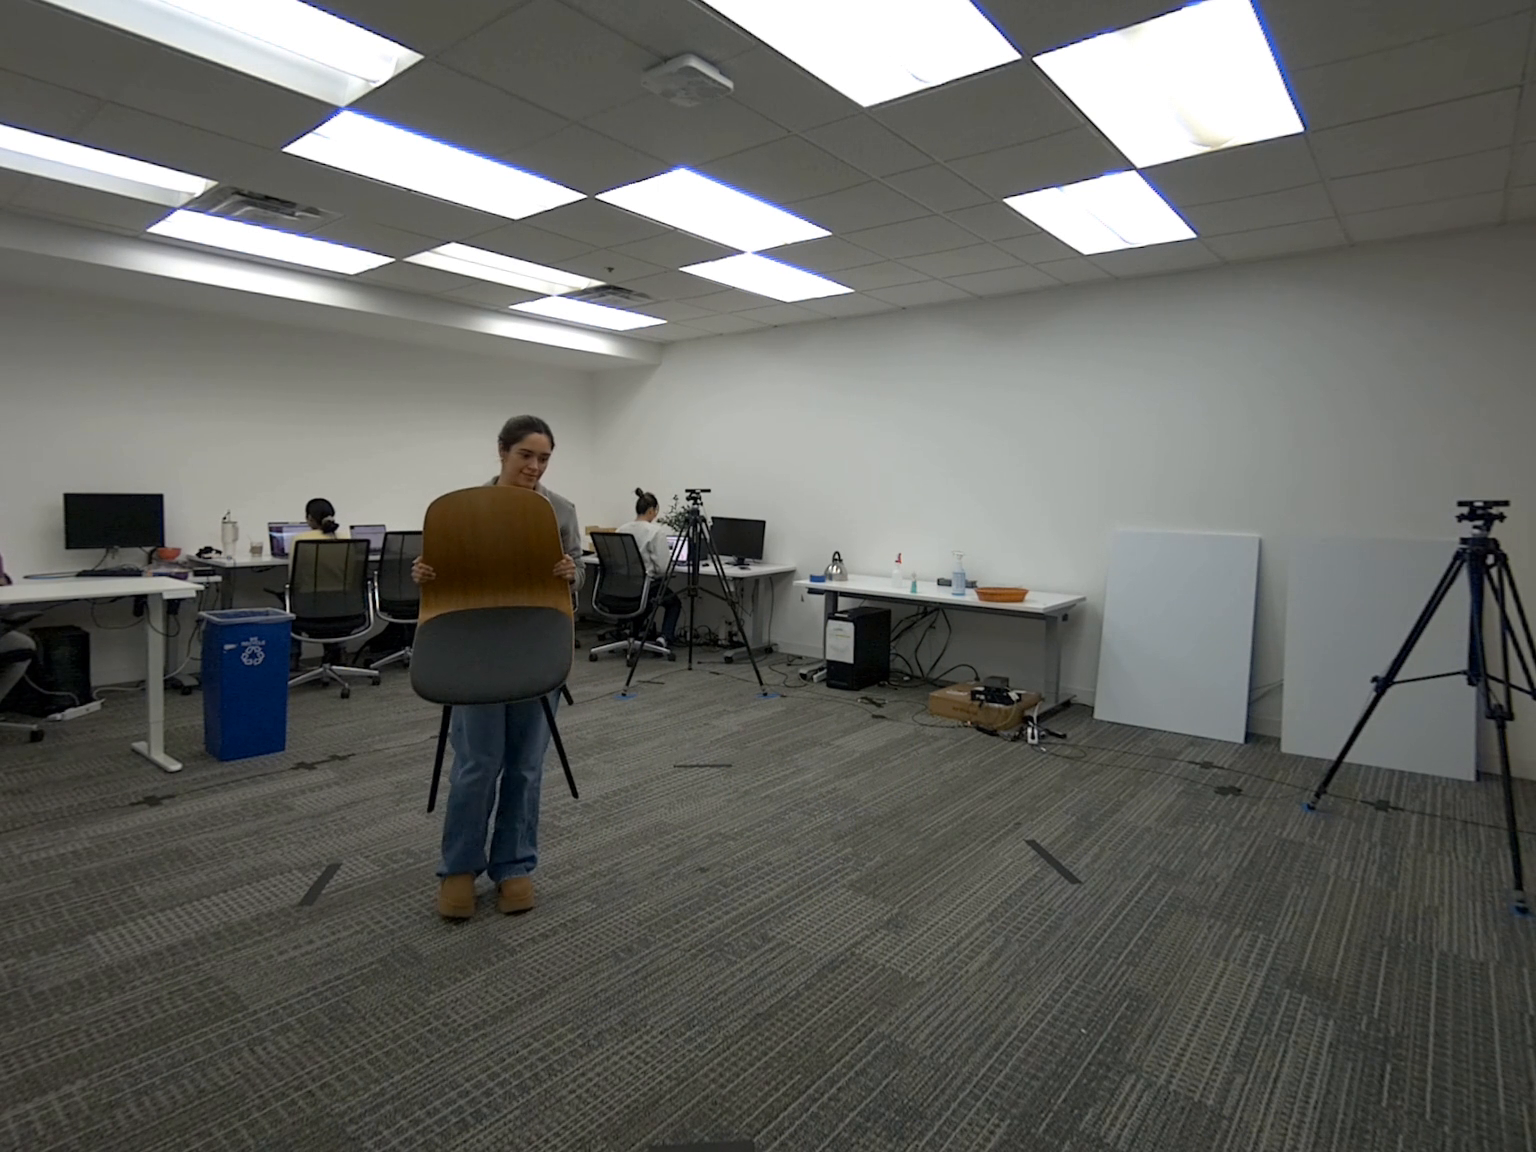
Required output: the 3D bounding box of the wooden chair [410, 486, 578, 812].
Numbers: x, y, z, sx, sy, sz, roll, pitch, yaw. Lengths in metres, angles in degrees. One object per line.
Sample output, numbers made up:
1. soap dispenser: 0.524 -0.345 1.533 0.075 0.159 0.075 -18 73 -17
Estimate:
1. wooden chair: -0.837 0.230 2.588 0.473 0.859 0.540 -2 26 -12
